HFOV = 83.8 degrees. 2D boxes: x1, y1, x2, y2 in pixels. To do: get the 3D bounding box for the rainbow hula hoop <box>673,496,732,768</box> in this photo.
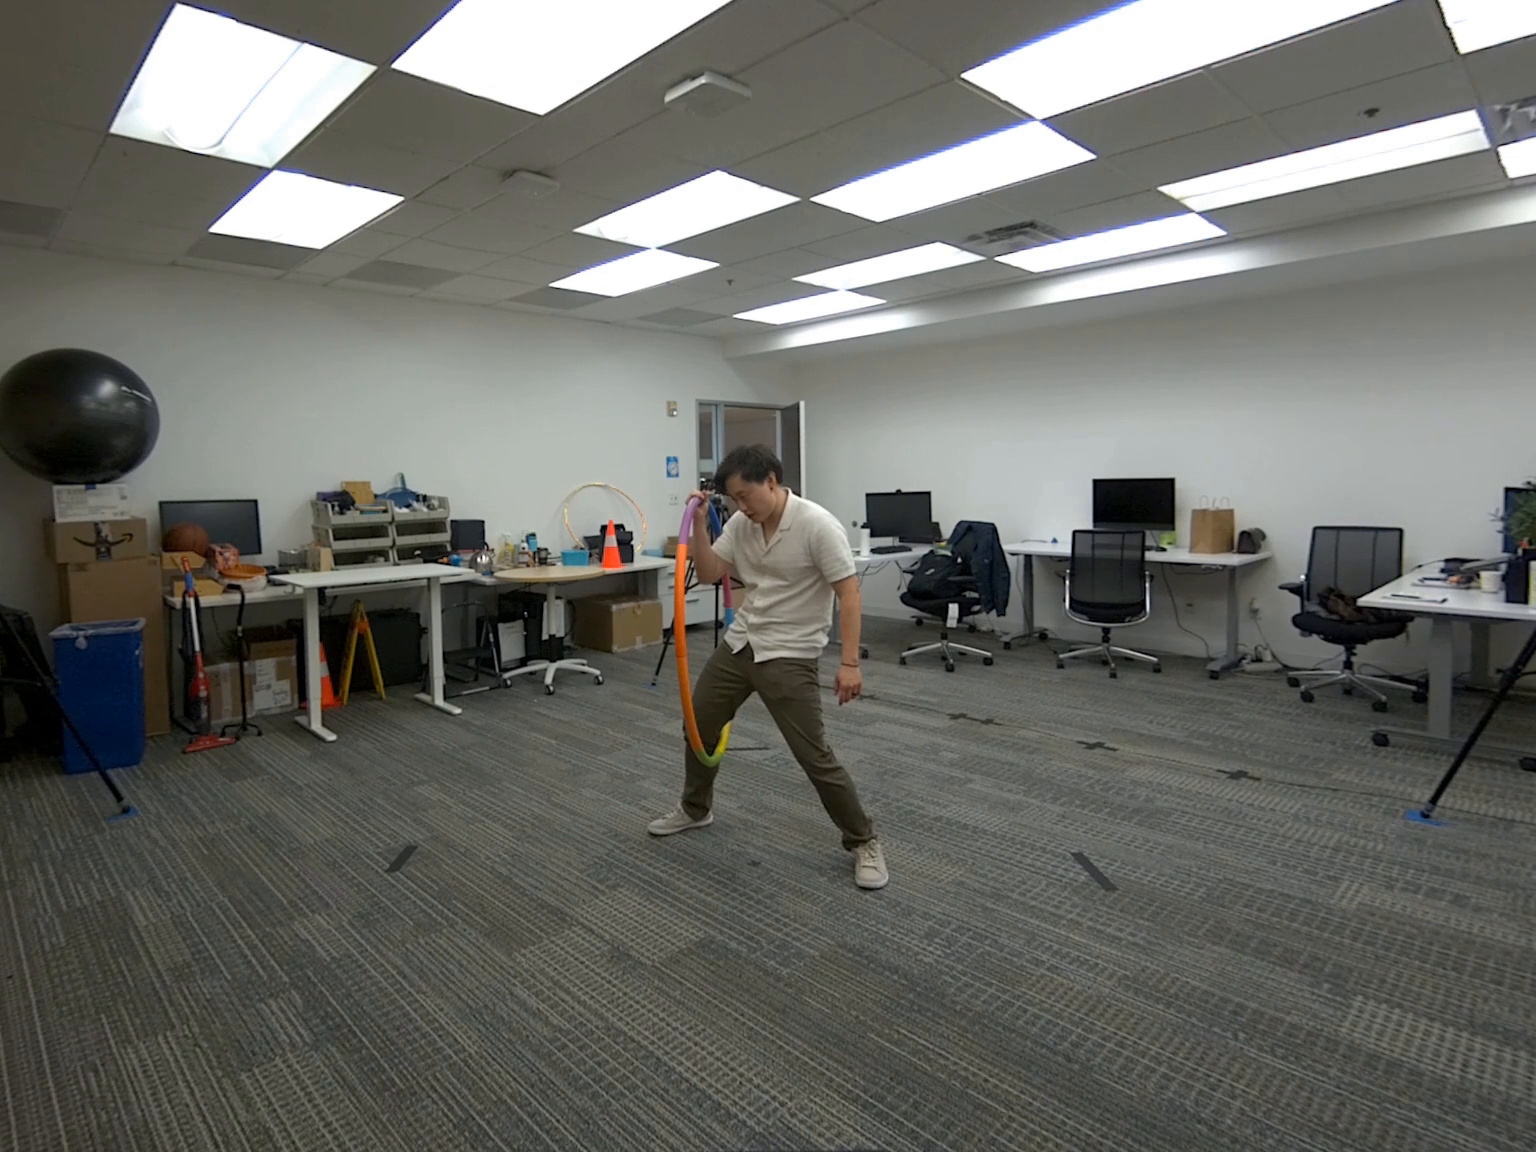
[{"bbox_3d":[-0.216,0.187,3.178,0.036,0.975,0.974,-4,4,7],"label":"rainbow hula hoop"}]
